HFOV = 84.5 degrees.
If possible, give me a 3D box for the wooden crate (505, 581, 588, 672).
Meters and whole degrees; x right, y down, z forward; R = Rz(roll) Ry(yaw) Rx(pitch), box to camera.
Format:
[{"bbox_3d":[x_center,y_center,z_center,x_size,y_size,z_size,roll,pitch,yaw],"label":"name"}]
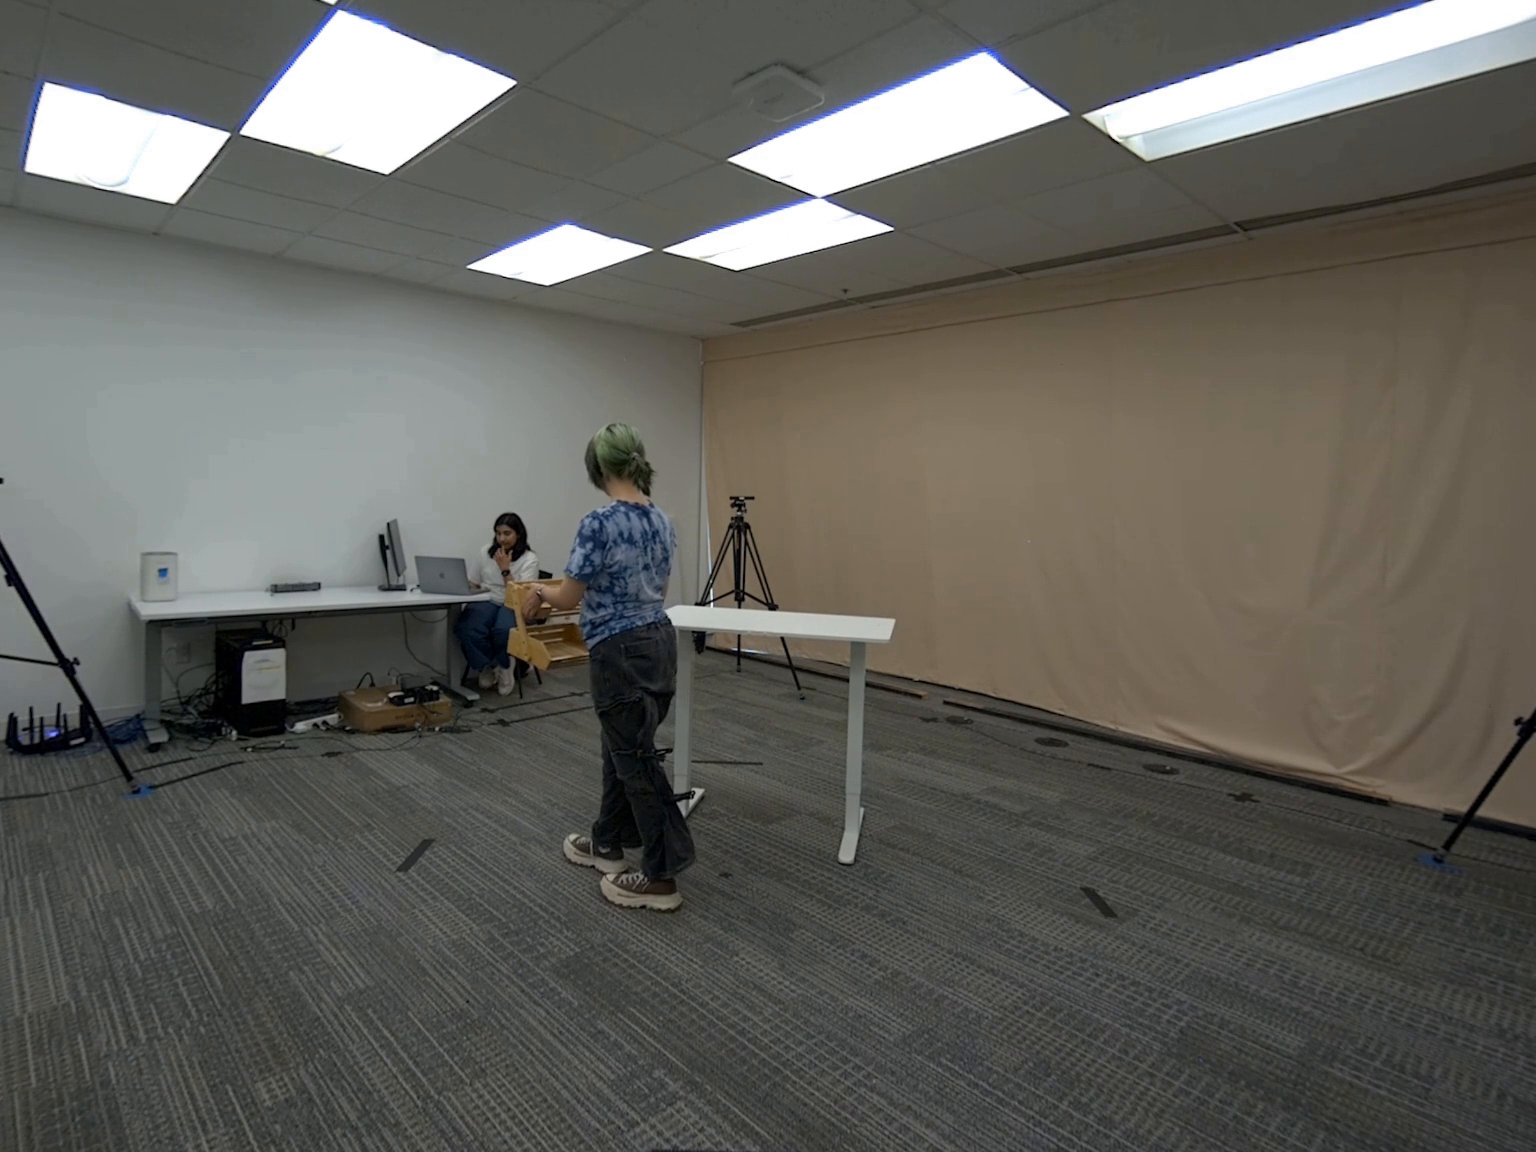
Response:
[{"bbox_3d":[-0.792,0.169,3.189,0.310,0.272,0.317,16,12,36],"label":"wooden crate"}]
